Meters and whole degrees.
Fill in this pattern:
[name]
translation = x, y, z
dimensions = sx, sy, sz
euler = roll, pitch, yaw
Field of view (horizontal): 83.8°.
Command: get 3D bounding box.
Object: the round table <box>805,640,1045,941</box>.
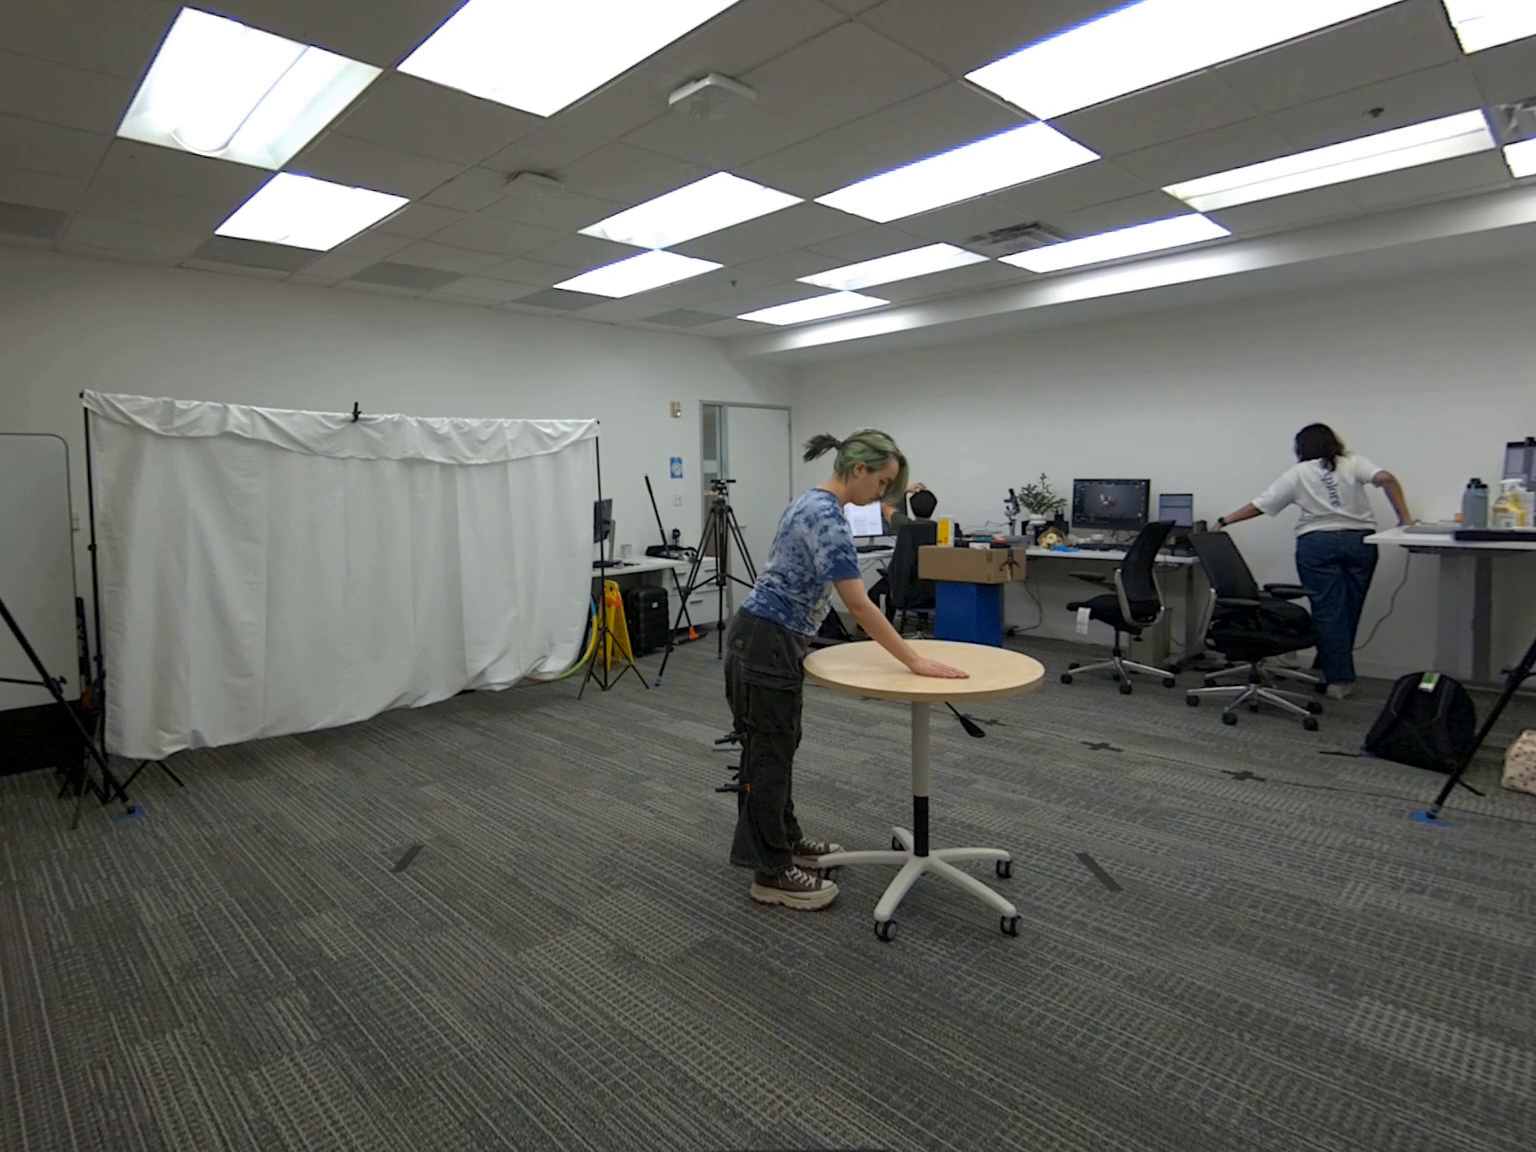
[round table]
translation = 0.495, 0.673, 2.817
dimensions = 0.784, 0.783, 0.789
euler = -1, 5, -2
